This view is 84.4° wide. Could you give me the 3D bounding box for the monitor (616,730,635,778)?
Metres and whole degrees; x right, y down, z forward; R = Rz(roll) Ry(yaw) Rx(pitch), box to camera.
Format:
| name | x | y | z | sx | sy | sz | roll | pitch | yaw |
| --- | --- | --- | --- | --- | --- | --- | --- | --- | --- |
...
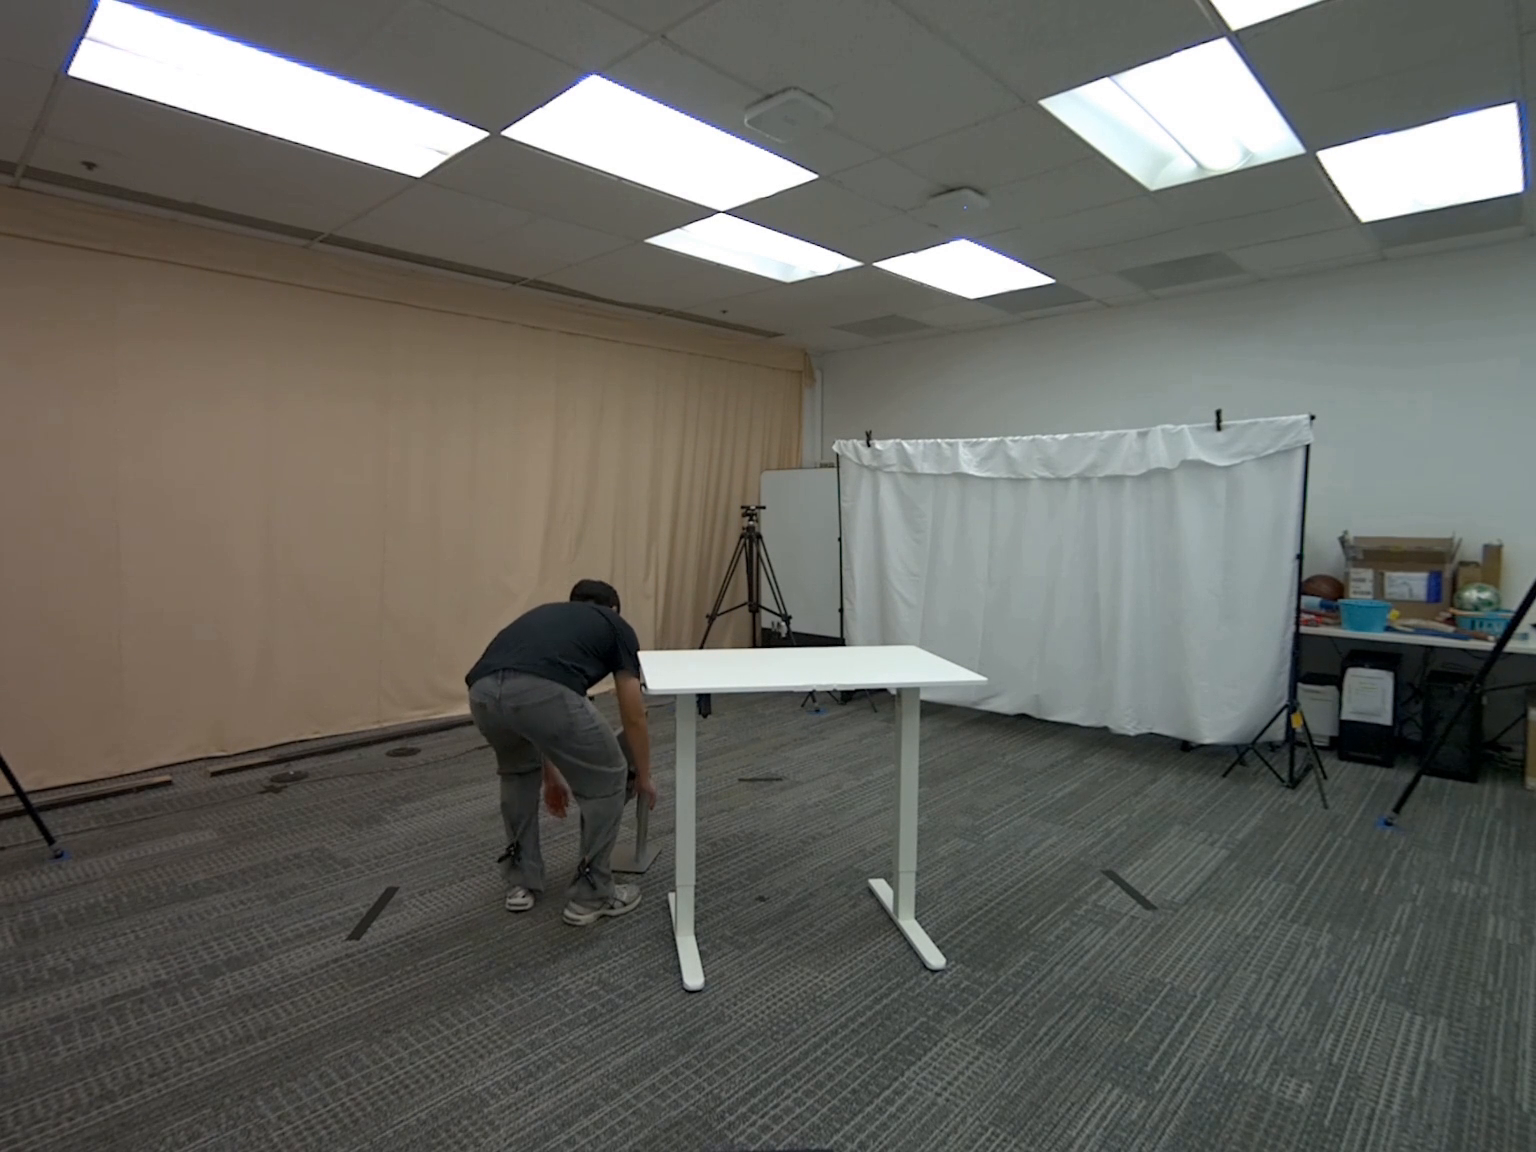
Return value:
| name | x | y | z | sx | sy | sz | roll | pitch | yaw |
| --- | --- | --- | --- | --- | --- | --- | --- | --- | --- |
| monitor | -0.561 | 0.863 | 3.306 | 0.225 | 0.565 | 0.555 | -3 | 2 | 12 |
